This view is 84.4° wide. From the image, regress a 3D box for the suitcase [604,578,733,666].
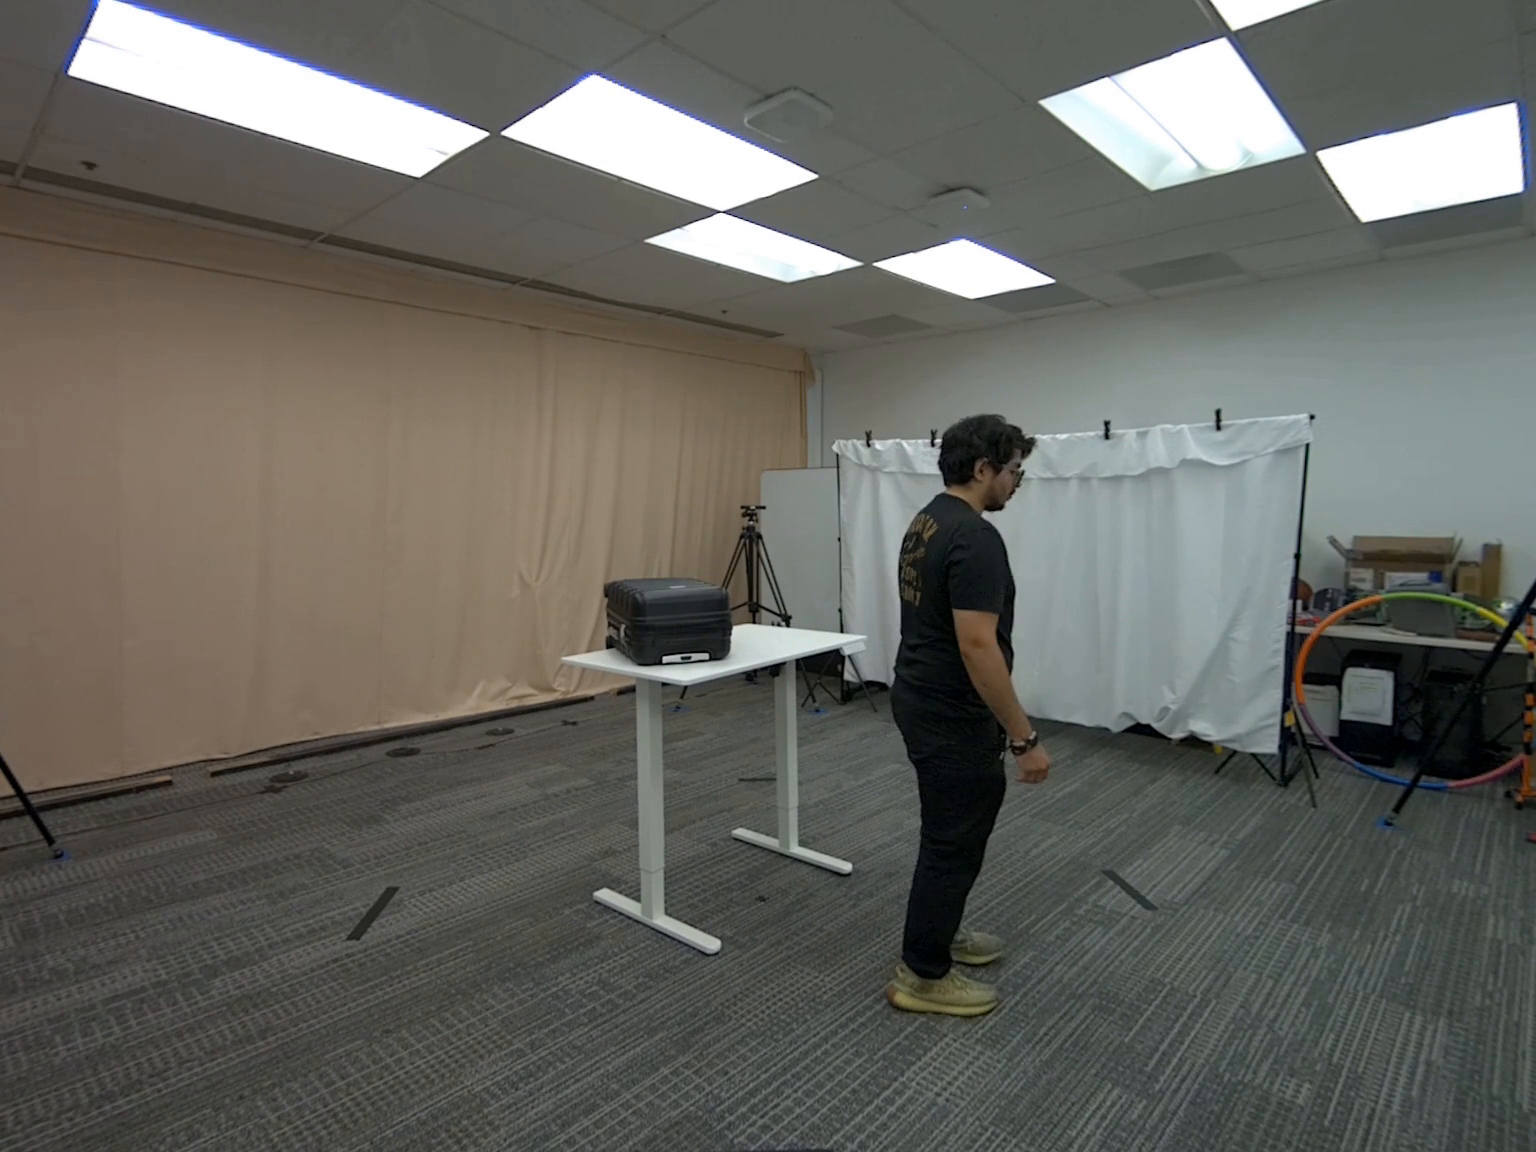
[{"bbox_3d":[-0.353,0.152,2.958,0.368,0.248,0.562,-3,5,-21],"label":"suitcase"}]
